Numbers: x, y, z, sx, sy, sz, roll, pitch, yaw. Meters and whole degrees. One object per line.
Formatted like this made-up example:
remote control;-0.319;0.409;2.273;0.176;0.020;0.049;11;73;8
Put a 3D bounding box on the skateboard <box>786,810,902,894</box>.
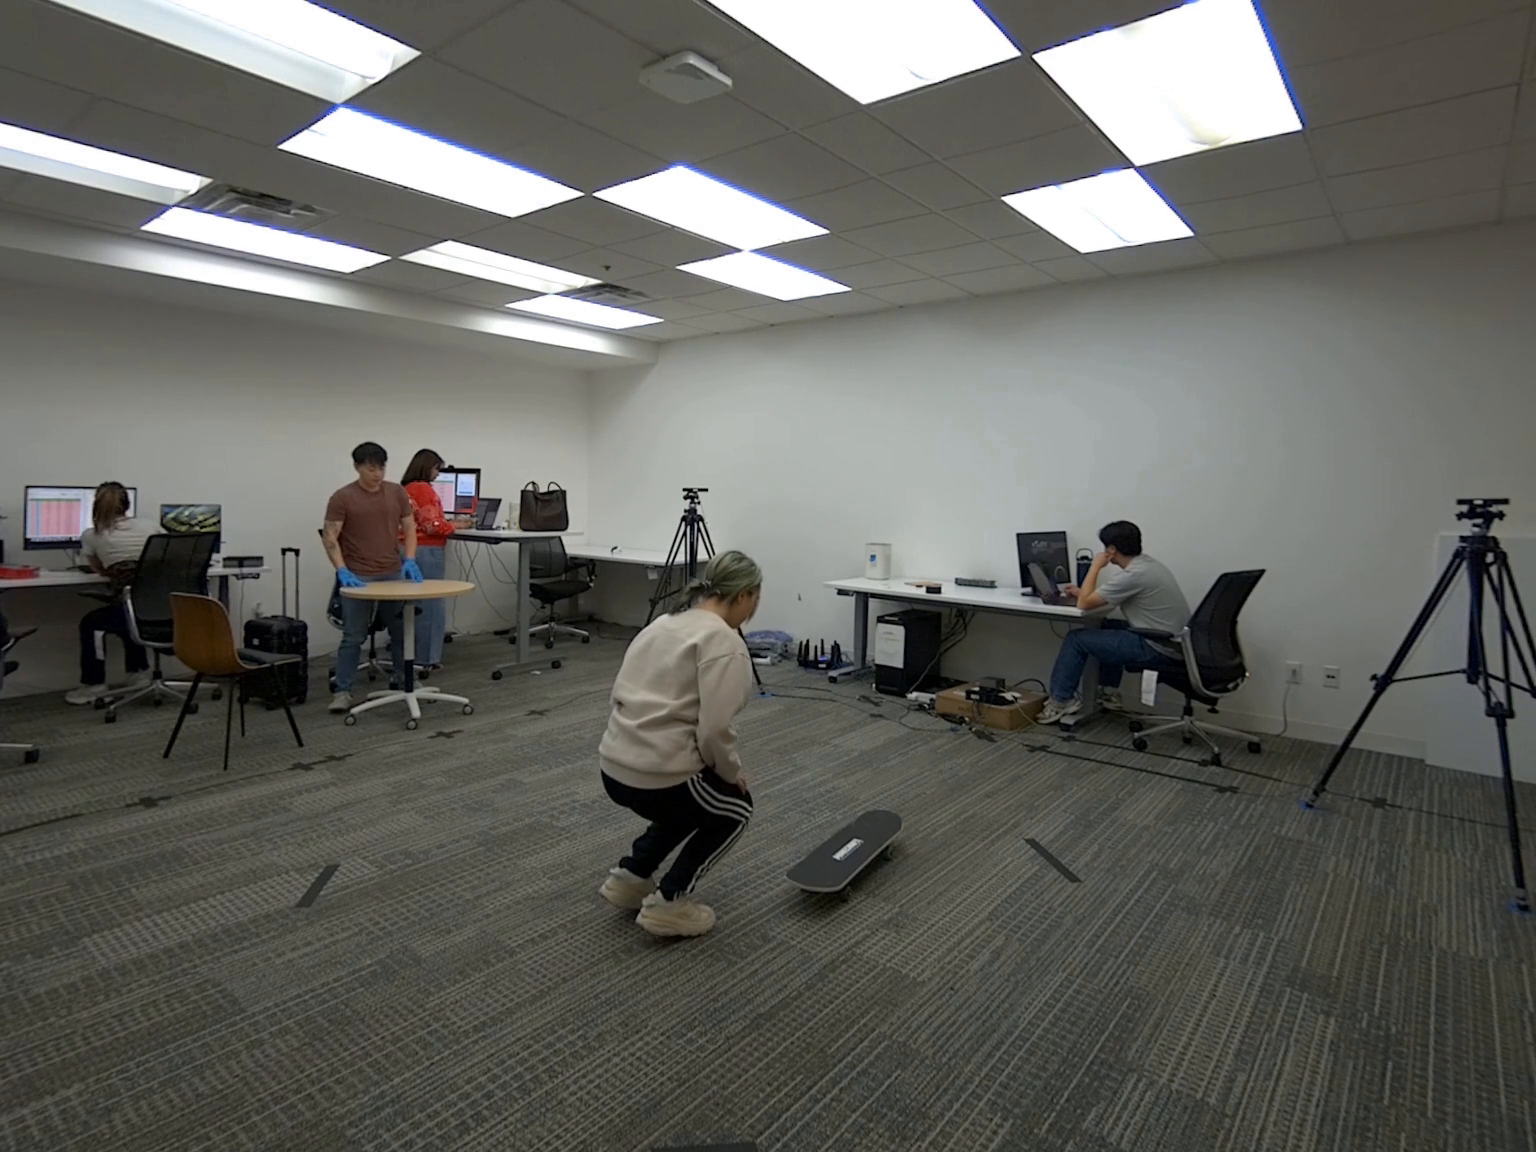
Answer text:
skateboard;0.291;1.026;3.101;0.199;0.110;0.766;4;7;29
